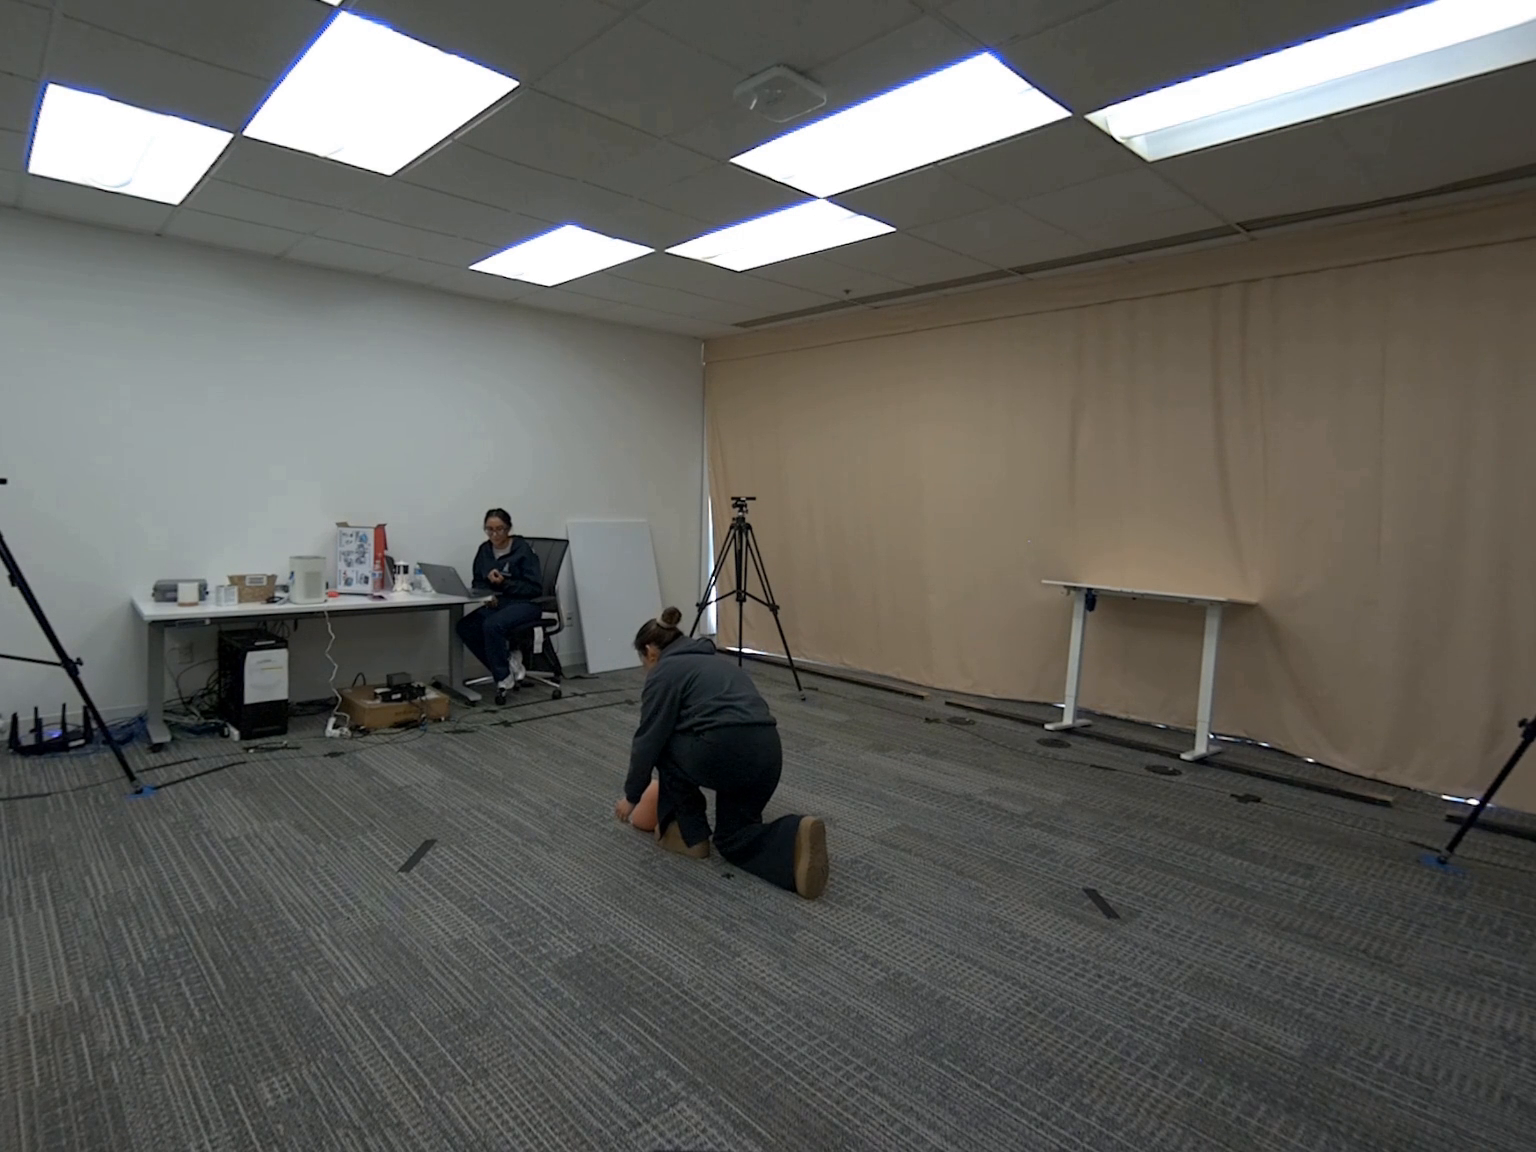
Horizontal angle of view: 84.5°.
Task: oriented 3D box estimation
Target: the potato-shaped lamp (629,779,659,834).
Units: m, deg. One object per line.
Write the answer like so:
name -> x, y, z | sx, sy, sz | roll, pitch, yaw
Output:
potato-shaped lamp -> -0.494, 0.957, 3.552 | 0.176, 0.197, 0.161 | 11, 11, 35
